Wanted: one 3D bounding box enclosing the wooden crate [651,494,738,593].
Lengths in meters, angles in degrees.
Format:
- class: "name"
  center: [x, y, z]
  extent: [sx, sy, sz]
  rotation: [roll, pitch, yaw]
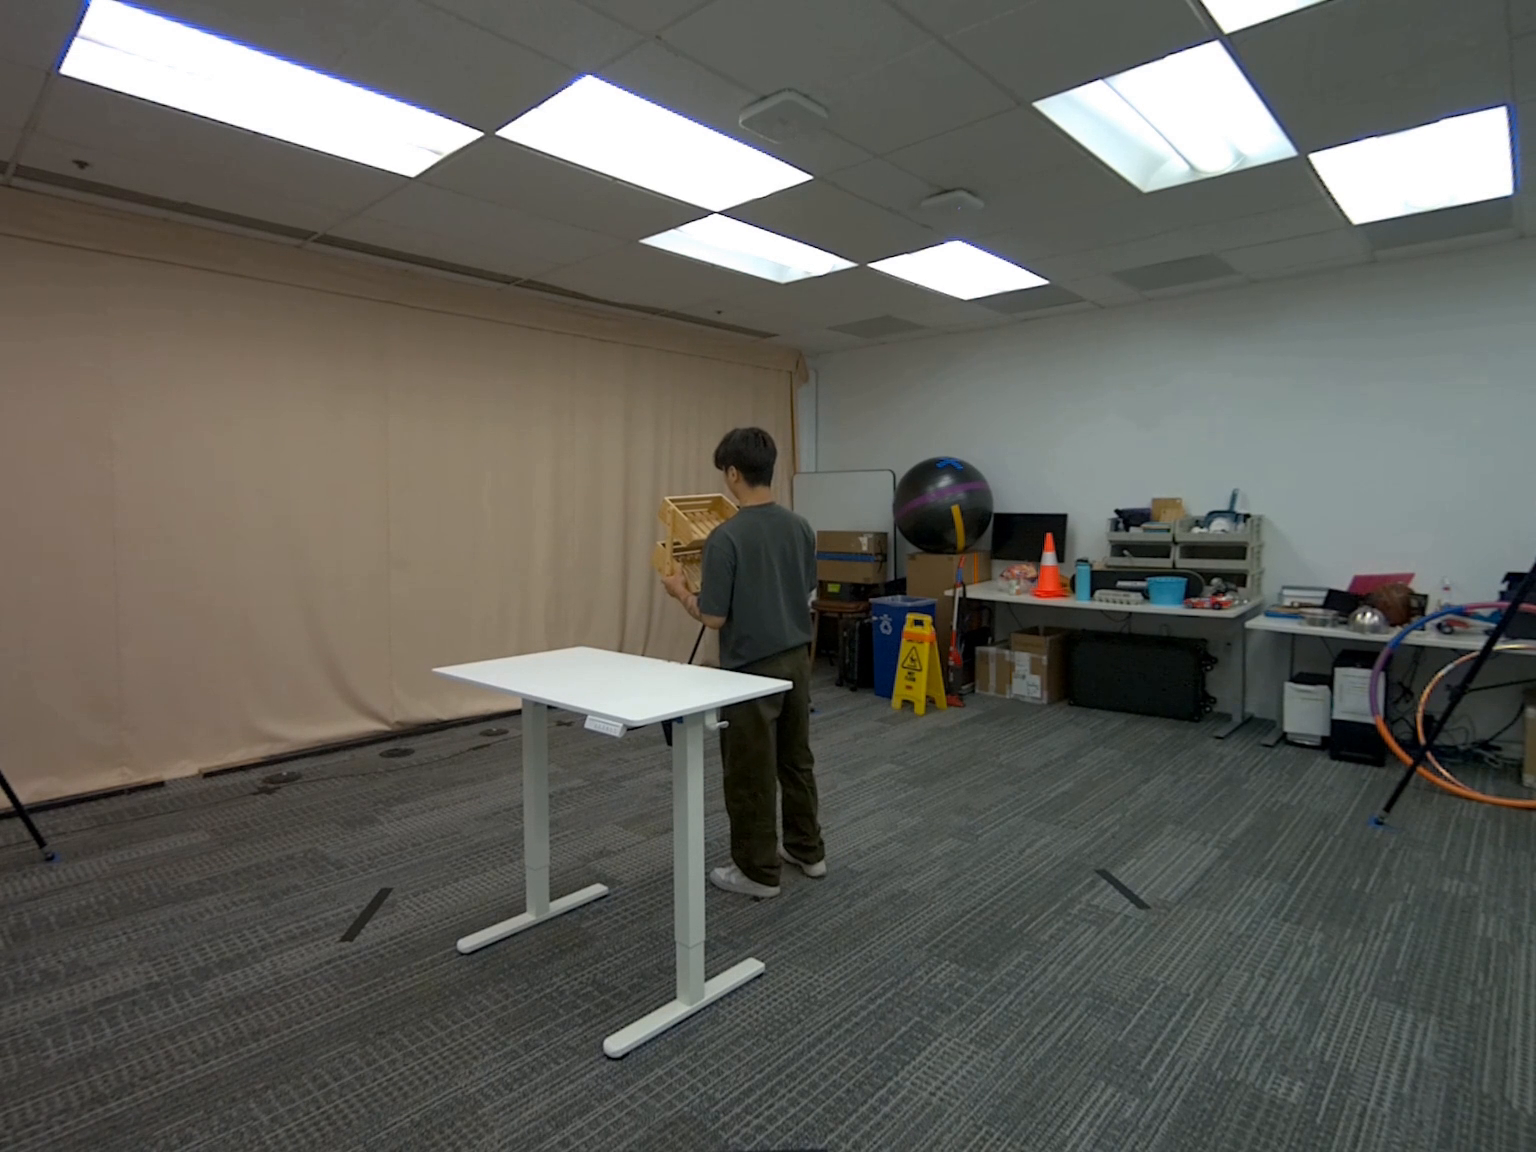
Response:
- class: "wooden crate"
  center: [-0.232, -0.119, 3.200]
  extent: [0.315, 0.272, 0.312]
  rotation: [-8, 42, -45]
